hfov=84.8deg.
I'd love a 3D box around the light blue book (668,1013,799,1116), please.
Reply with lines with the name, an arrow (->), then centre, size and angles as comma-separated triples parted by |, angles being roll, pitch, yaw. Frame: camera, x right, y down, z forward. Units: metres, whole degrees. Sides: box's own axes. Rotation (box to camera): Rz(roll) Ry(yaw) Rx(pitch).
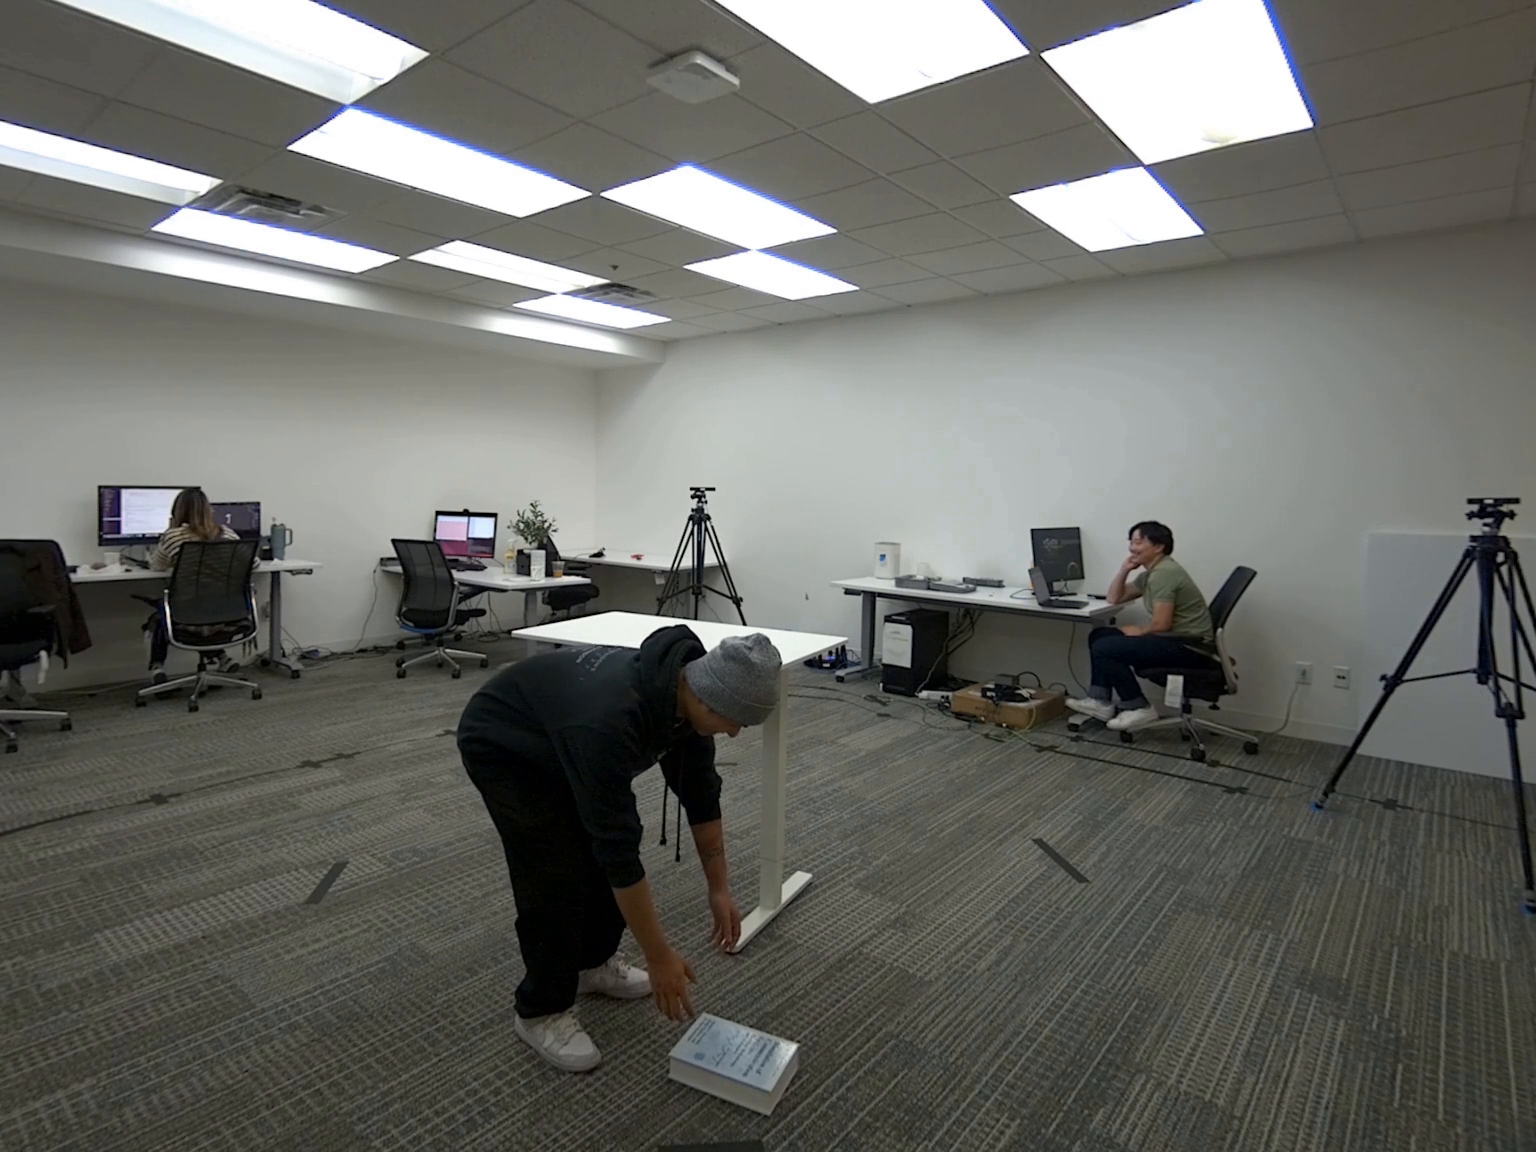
light blue book -> -0.084, 1.153, 2.020 | 0.268, 0.059, 0.187 | 4, 7, 25
